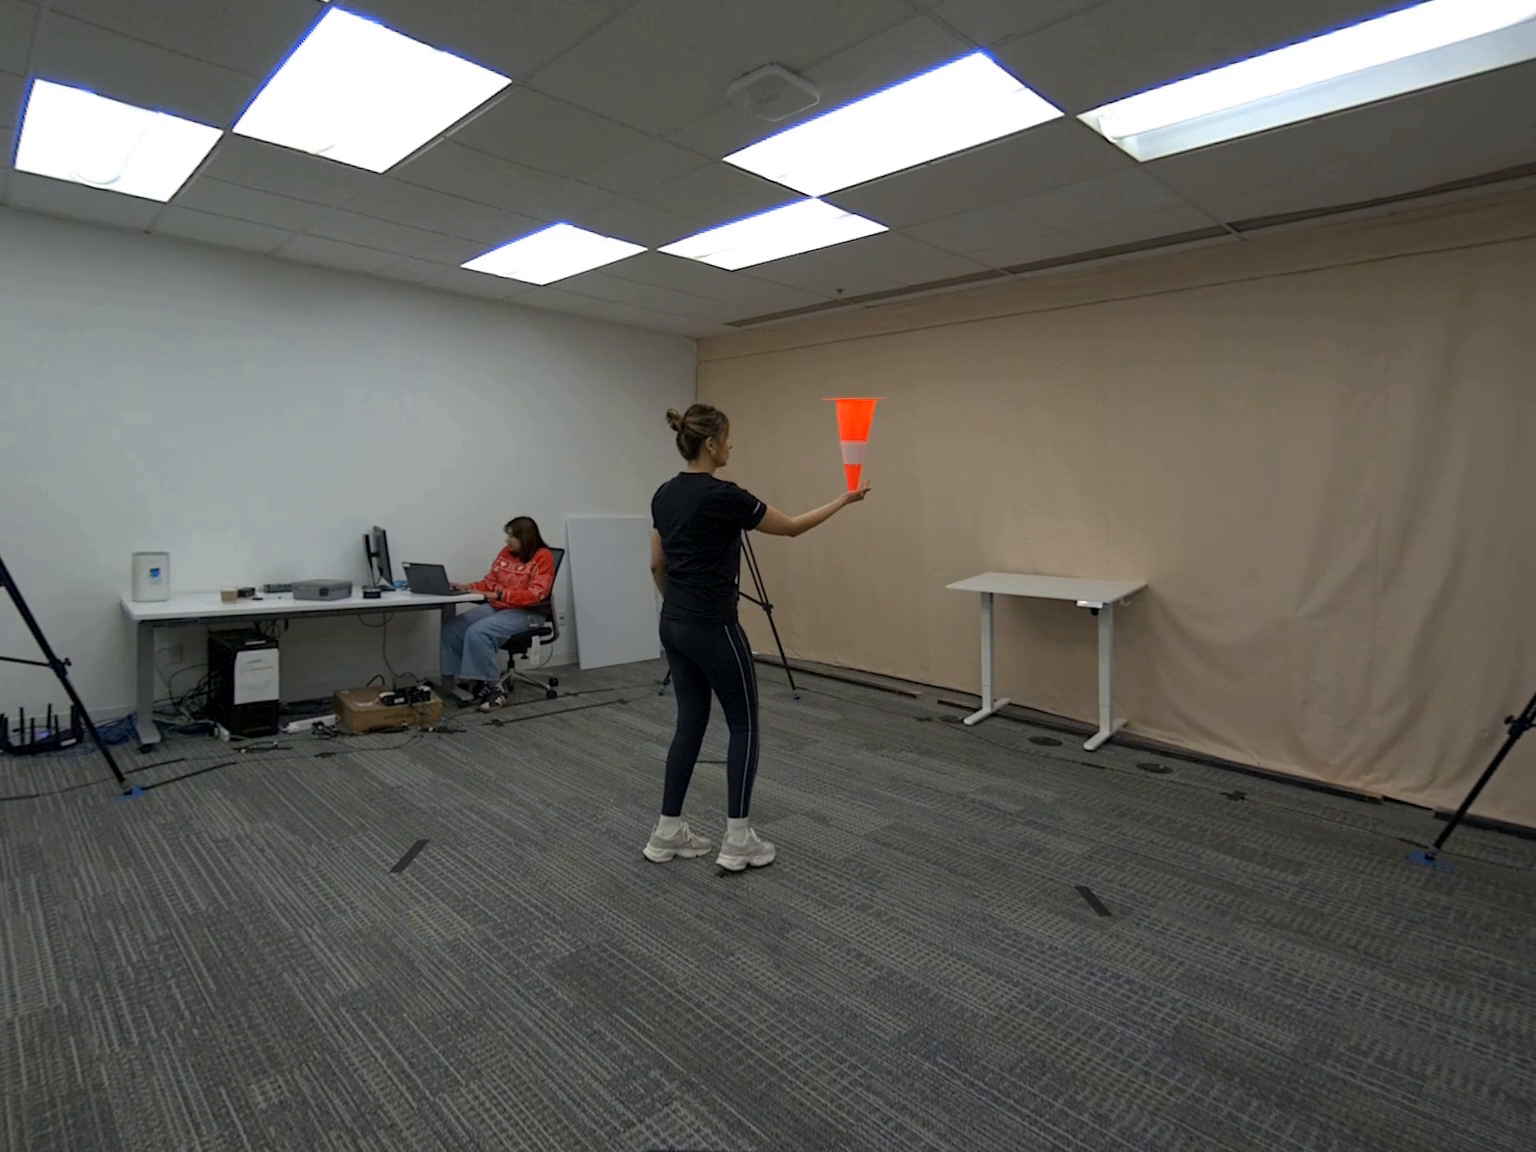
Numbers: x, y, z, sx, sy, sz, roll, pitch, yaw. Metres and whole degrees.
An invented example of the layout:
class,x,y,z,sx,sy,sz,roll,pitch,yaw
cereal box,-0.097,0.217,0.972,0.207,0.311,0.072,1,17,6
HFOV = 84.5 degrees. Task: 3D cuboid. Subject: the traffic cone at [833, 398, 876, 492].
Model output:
class,x,y,z,sx,sy,sz,roll,pitch,yaw
traffic cone,0.341,-0.514,3.335,0.201,0.381,0.209,-10,12,-44
